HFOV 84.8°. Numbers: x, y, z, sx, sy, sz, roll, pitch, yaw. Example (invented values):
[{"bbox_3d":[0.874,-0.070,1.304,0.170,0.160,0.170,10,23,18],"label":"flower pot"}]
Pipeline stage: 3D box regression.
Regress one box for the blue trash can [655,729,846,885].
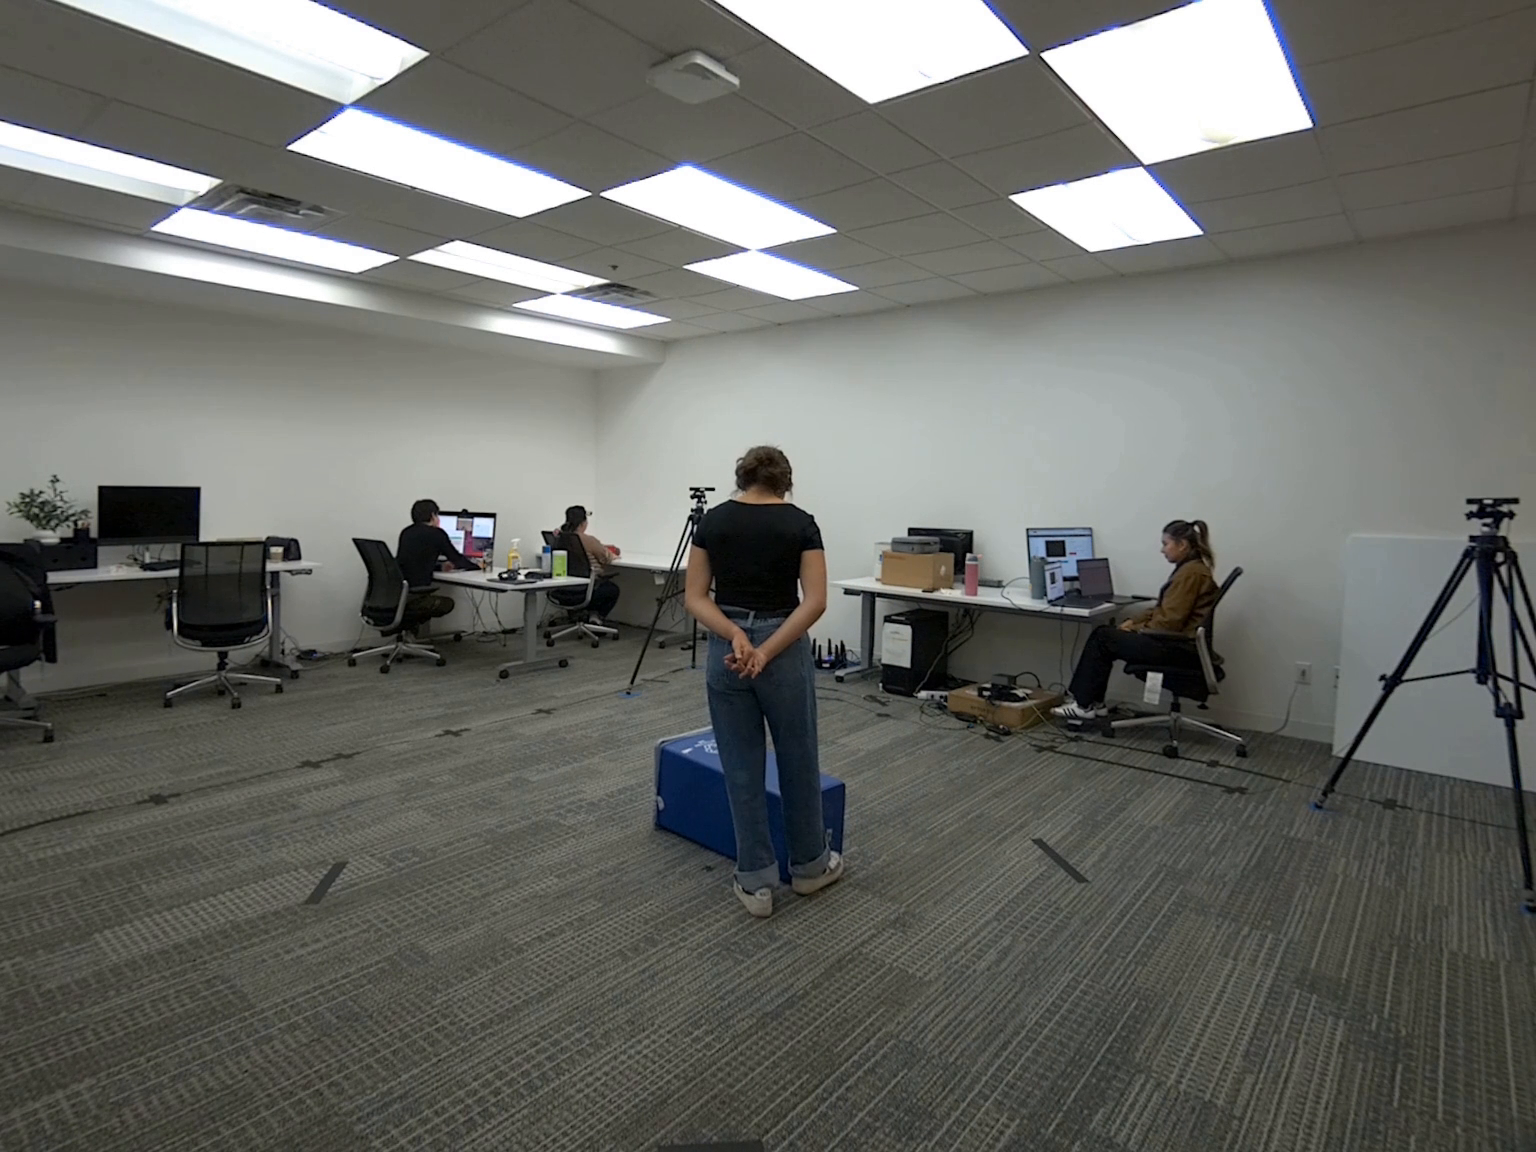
[{"bbox_3d":[-0.090,0.880,3.328,0.739,0.376,0.363,9,9,42],"label":"blue trash can"}]
